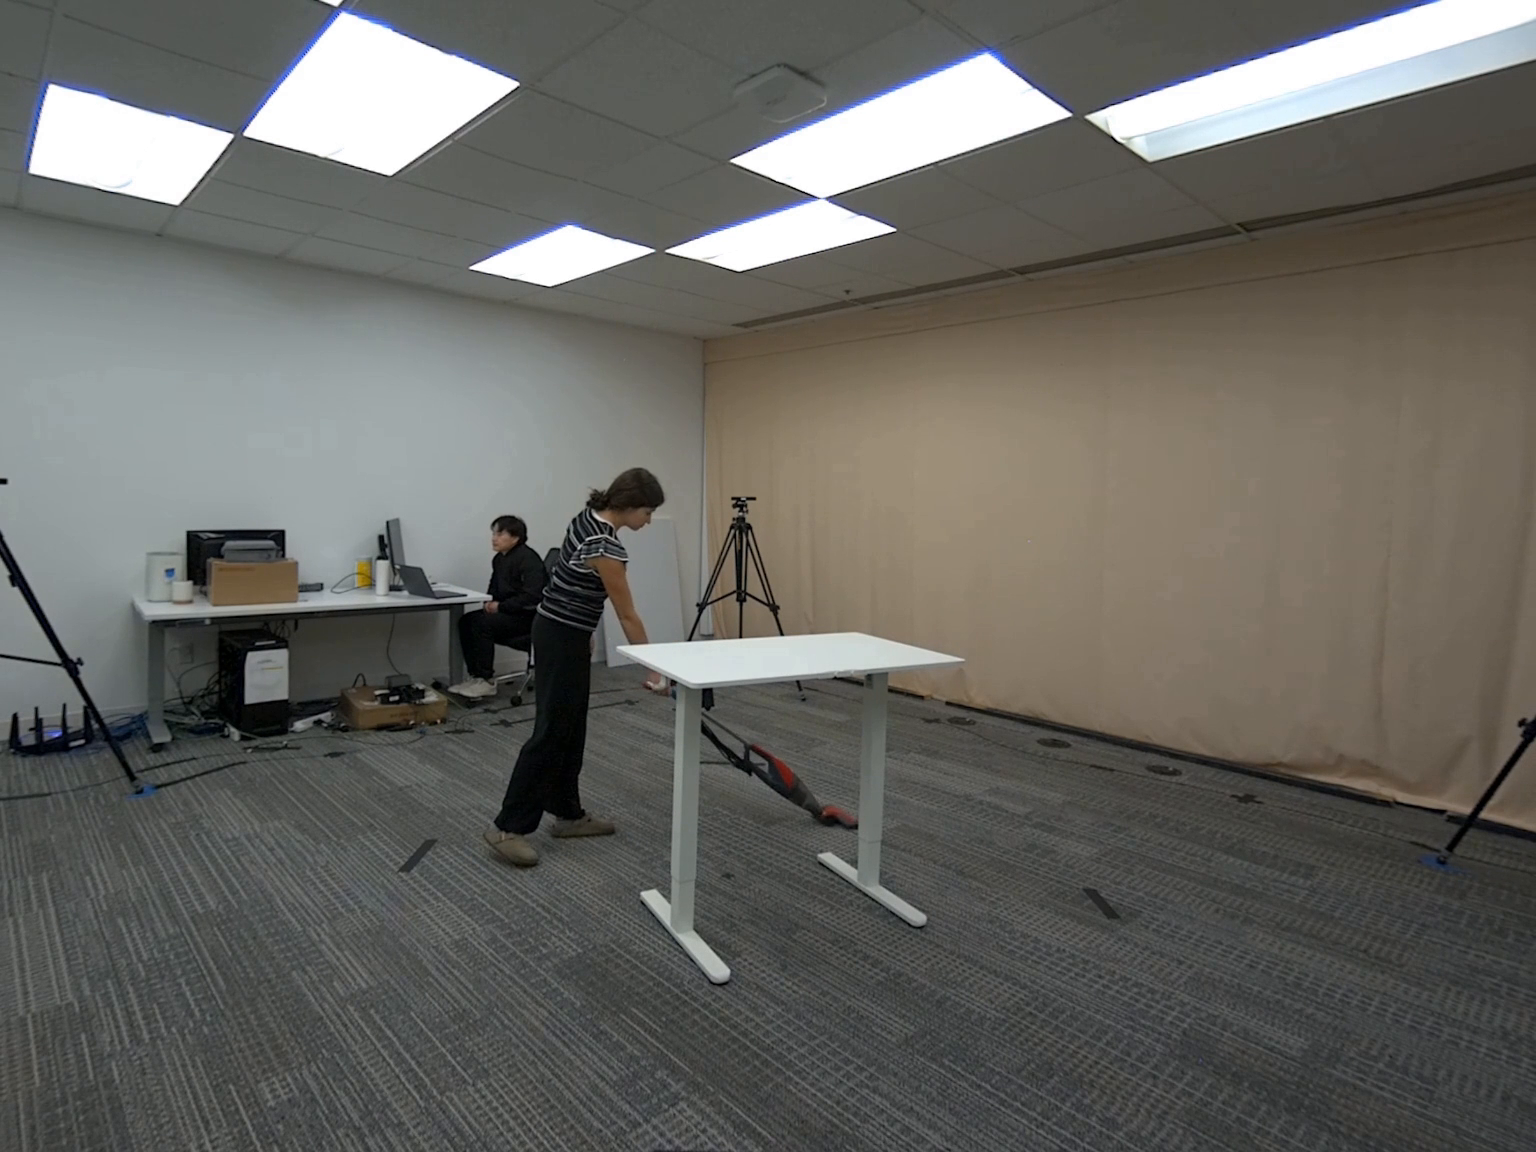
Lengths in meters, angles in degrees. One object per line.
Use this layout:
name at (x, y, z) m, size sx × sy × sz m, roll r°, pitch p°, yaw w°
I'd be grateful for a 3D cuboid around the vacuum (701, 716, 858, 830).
vacuum at (-0.109, 0.751, 3.532) m, size 1.029 × 0.144 × 0.256 m, roll 38°, pitch -19°, yaw -18°
